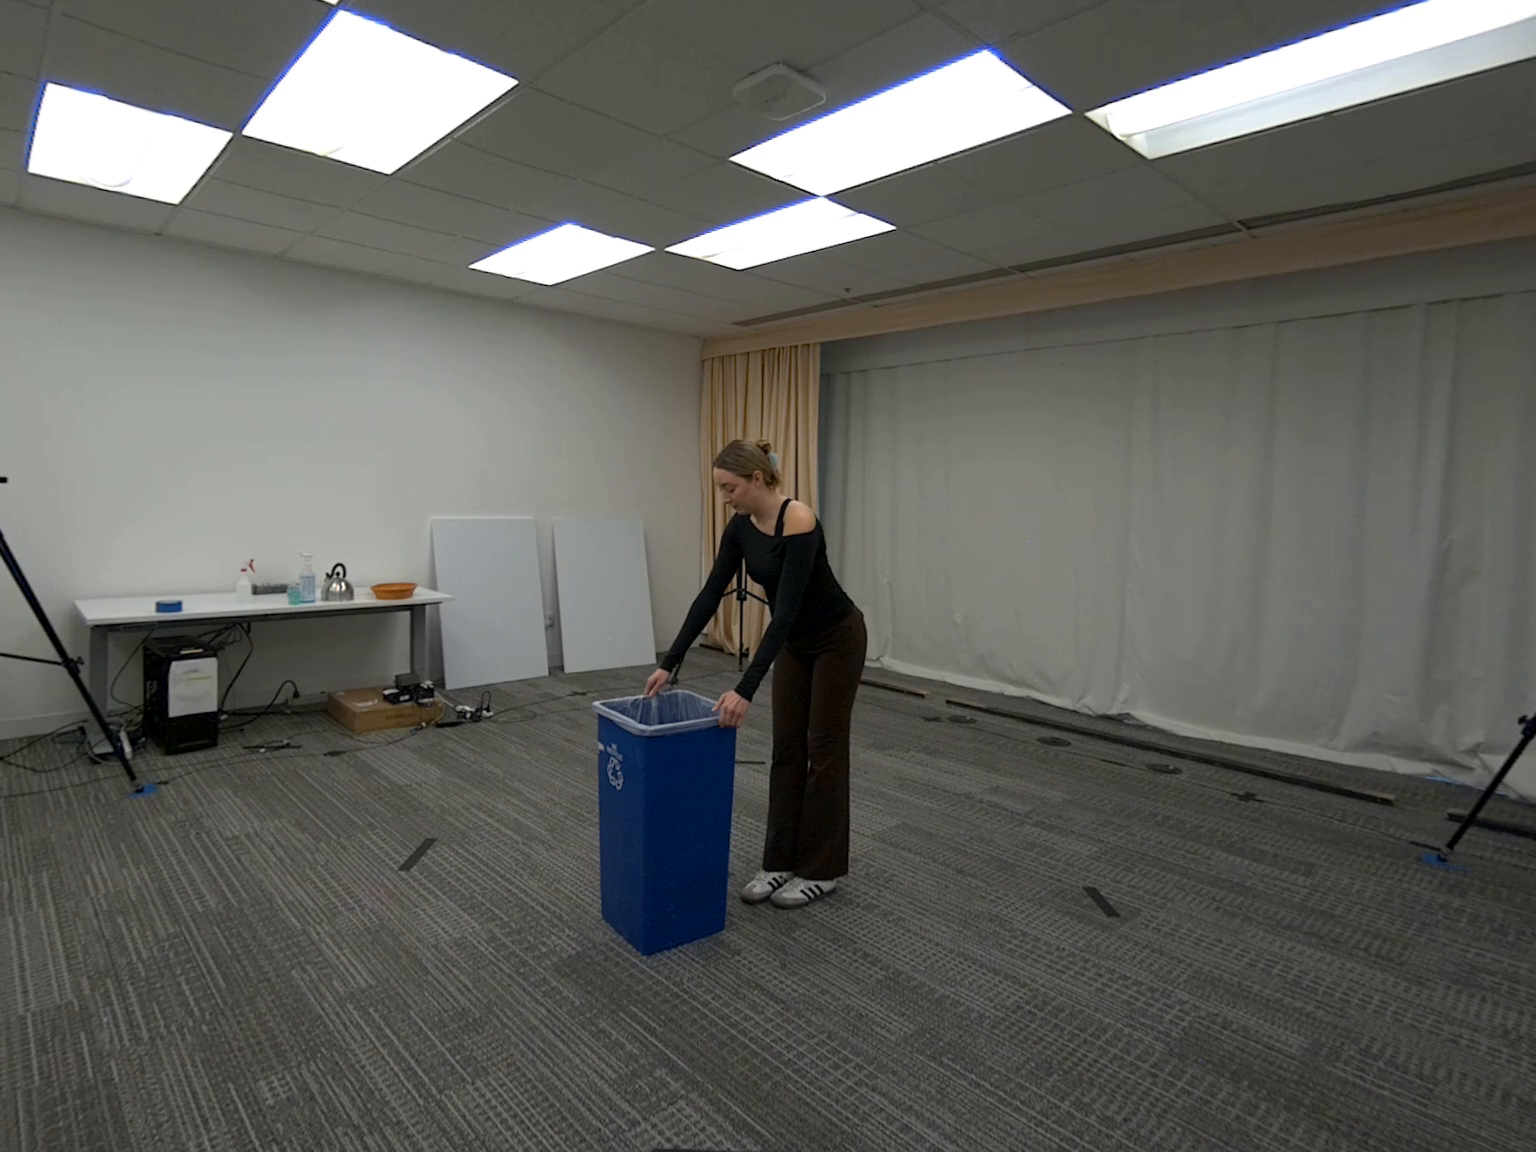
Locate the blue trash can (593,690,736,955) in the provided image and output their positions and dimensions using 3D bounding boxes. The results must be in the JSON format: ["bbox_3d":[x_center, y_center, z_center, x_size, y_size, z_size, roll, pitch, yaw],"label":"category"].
[{"bbox_3d":[-0.334,0.778,2.709,0.370,0.712,0.383,-1,4,-37],"label":"blue trash can"}]
